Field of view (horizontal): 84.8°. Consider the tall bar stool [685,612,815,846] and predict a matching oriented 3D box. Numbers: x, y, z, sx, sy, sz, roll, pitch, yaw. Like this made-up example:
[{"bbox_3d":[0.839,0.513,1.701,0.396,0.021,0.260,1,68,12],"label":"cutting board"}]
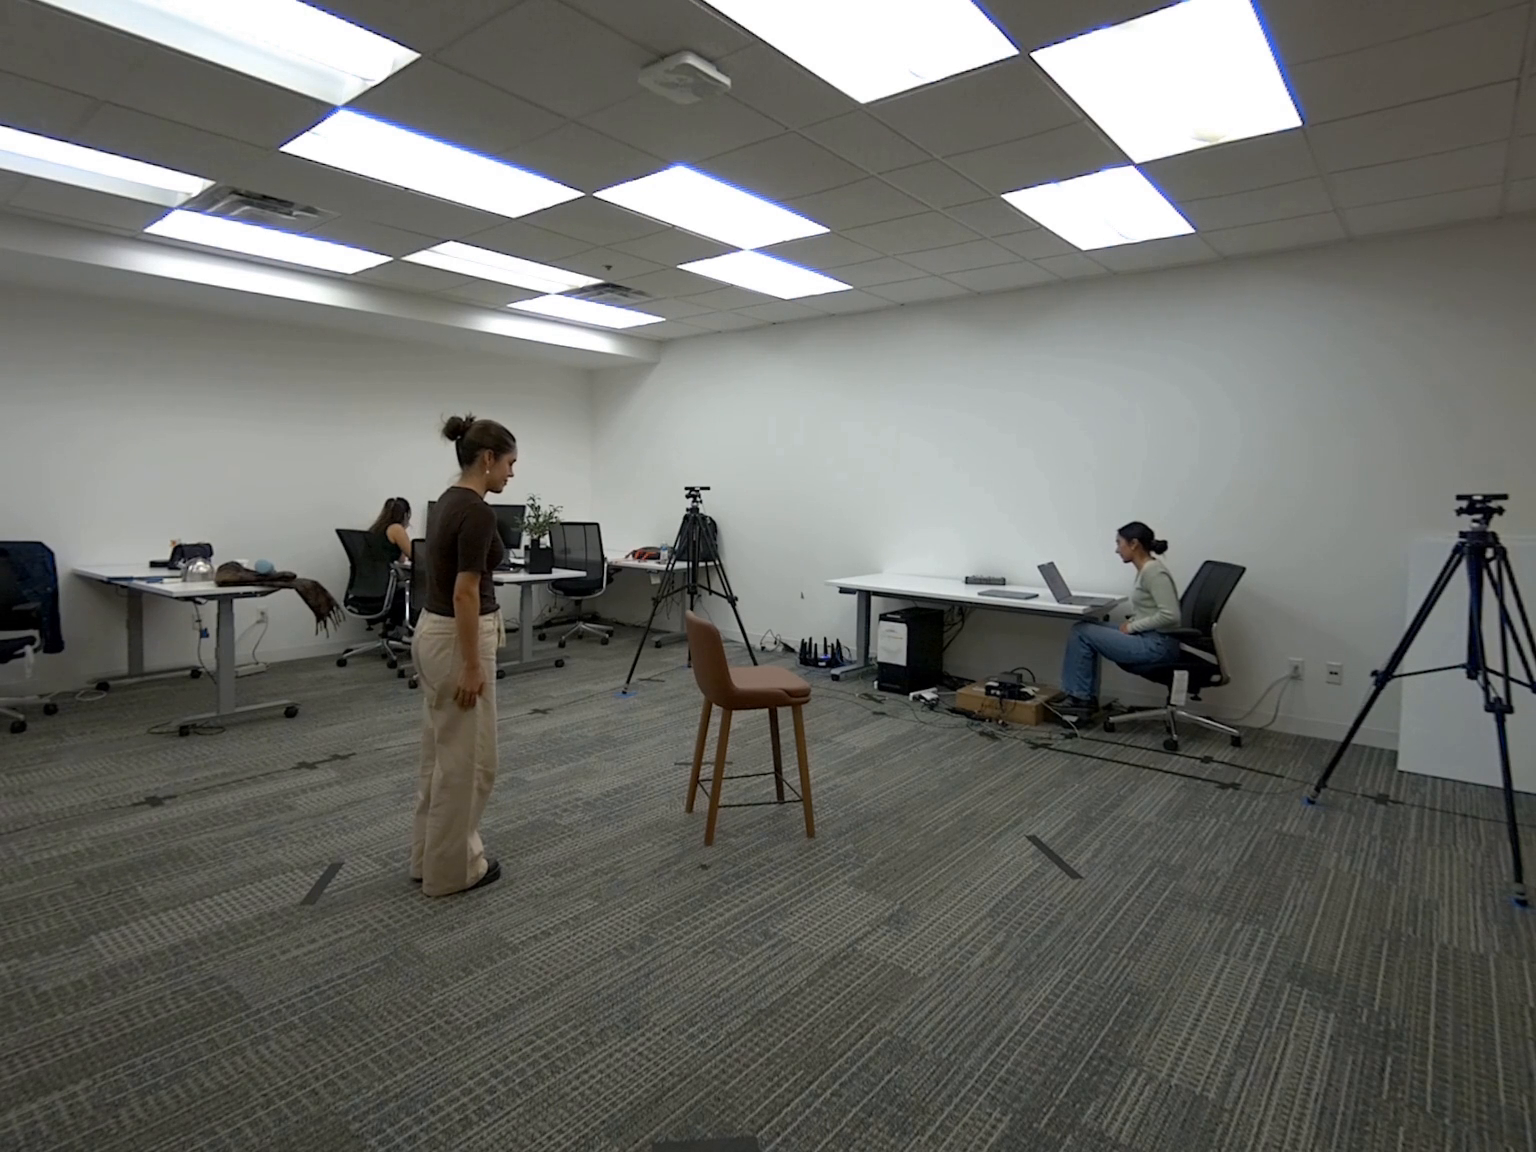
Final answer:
[{"bbox_3d":[-0.095,0.590,3.514,0.461,0.887,0.465,-2,3,-15],"label":"tall bar stool"}]
